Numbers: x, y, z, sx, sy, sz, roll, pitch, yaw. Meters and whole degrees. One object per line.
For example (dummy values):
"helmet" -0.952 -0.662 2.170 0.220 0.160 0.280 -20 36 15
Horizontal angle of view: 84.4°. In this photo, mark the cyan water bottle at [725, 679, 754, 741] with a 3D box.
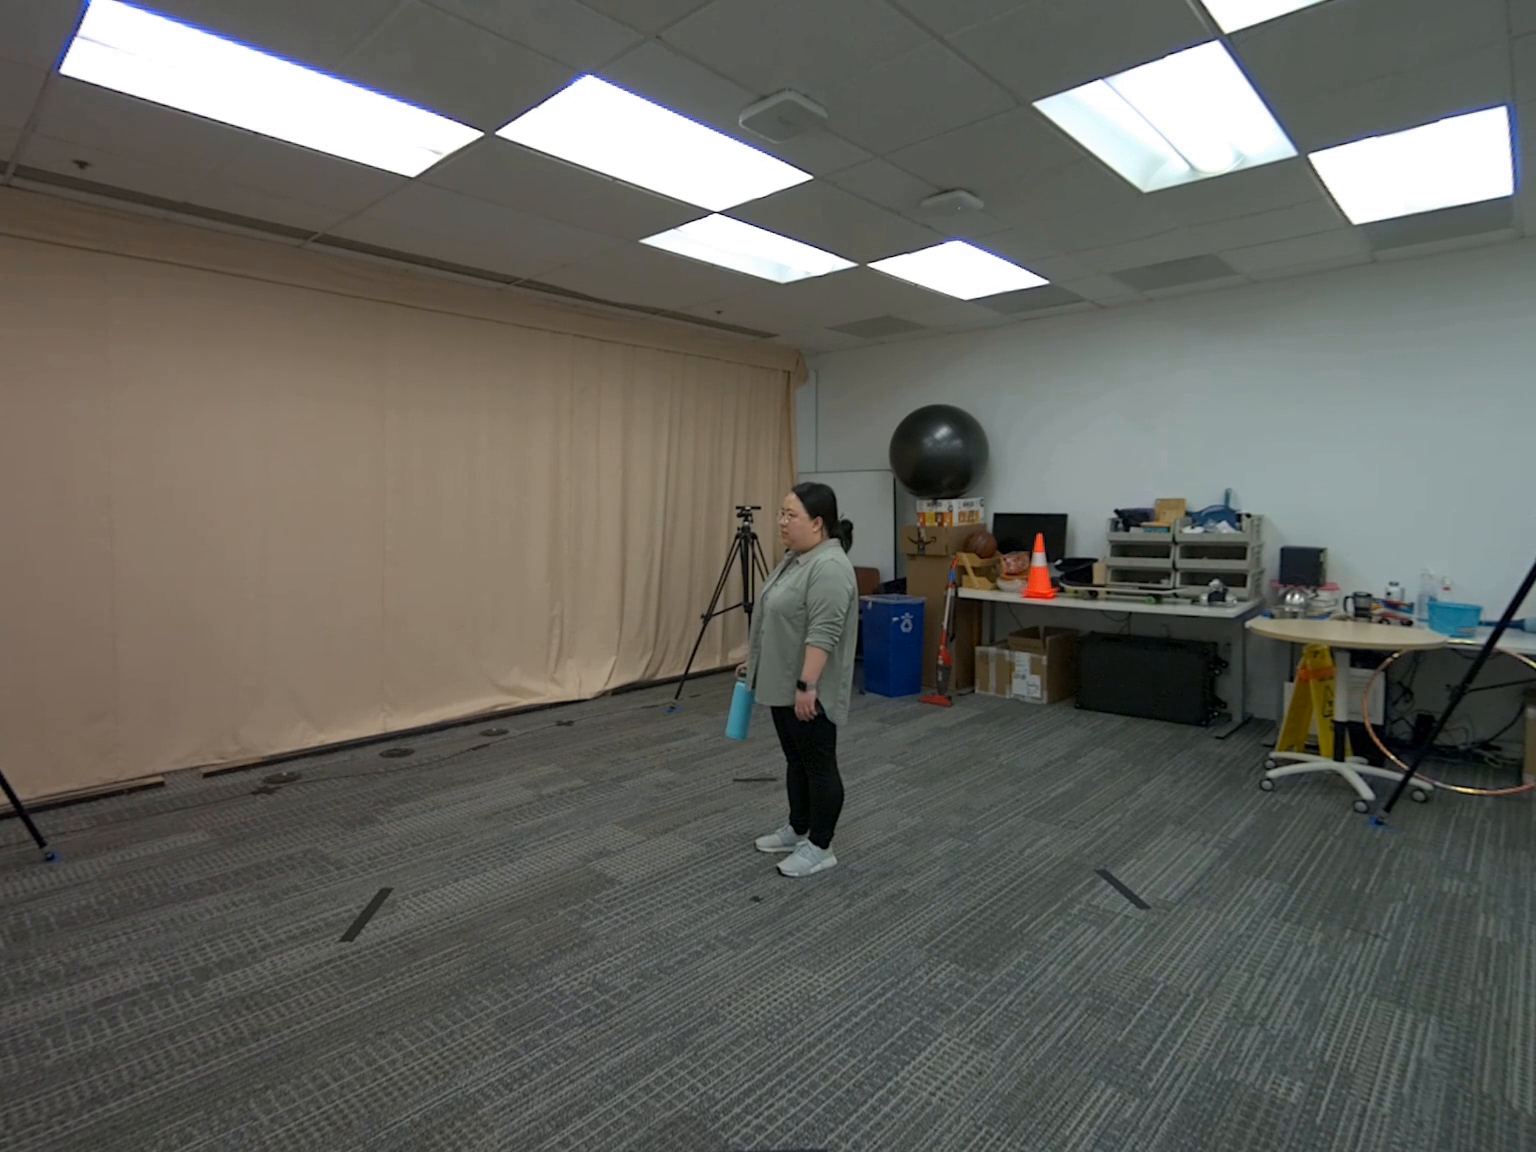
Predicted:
"cyan water bottle" -0.096 0.535 3.515 0.092 0.284 0.092 9 -4 -1
